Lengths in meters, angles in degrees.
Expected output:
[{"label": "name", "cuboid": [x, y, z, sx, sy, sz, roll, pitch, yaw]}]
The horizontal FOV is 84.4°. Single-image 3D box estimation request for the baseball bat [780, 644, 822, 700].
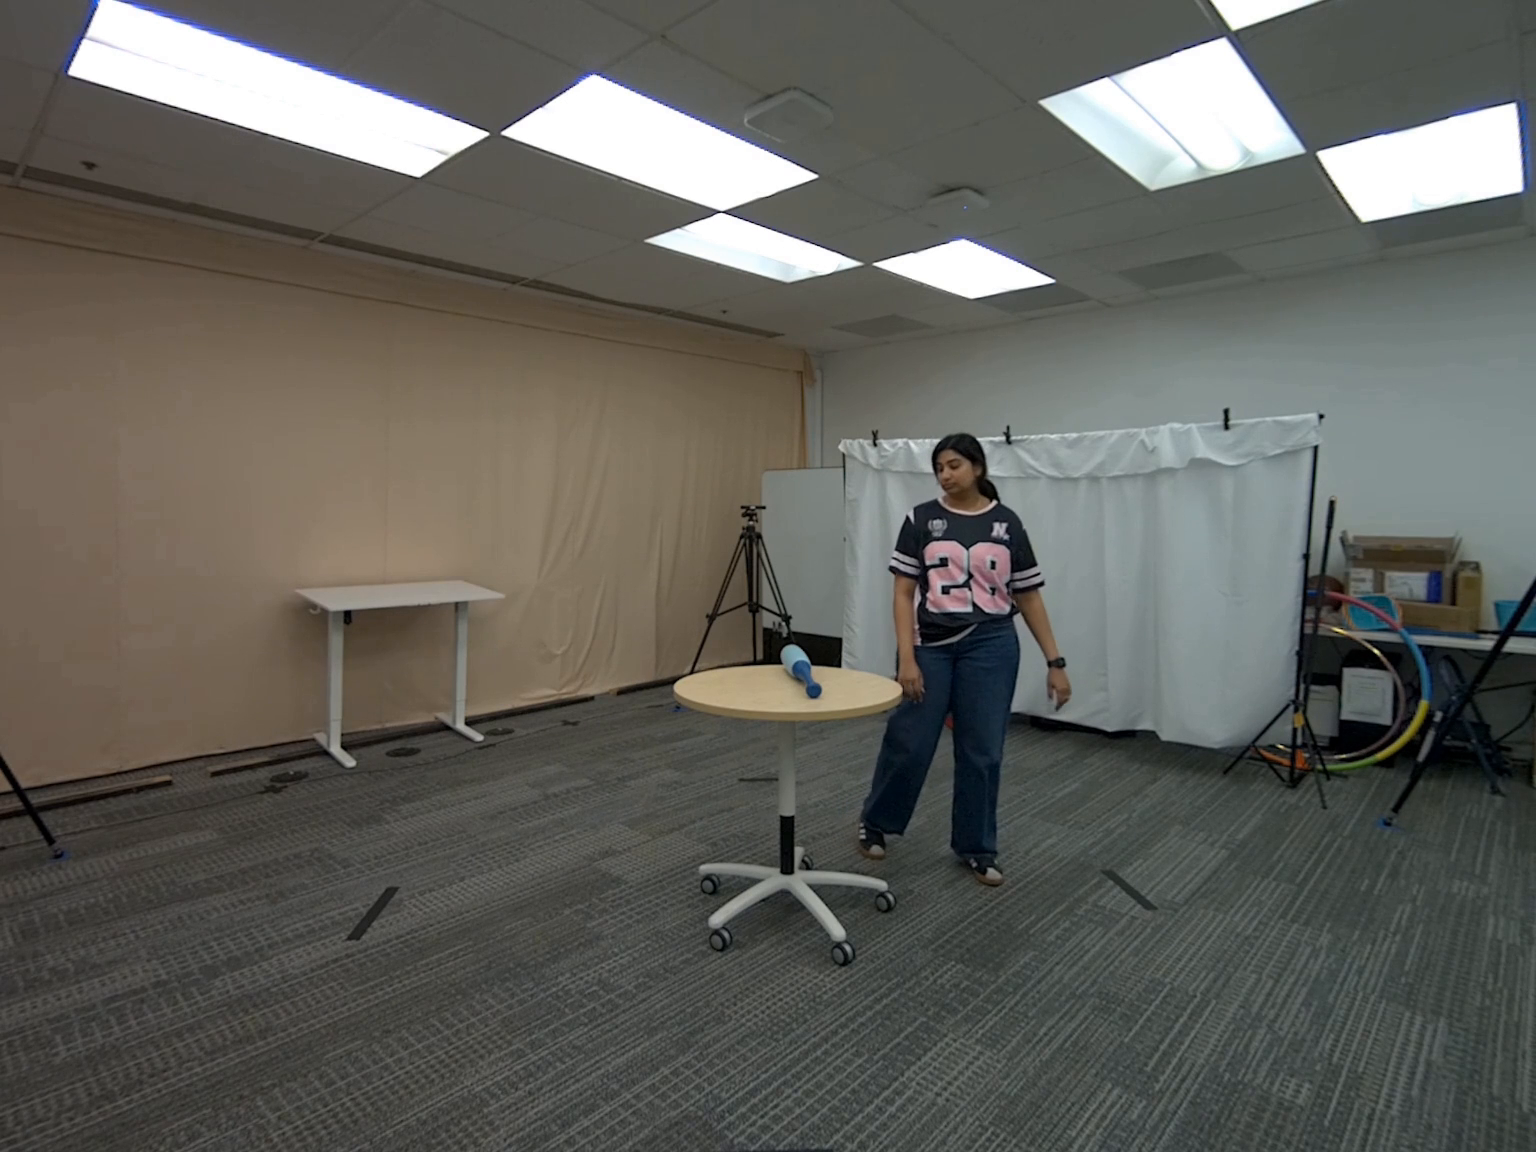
[{"label": "baseball bat", "cuboid": [0.120, 0.328, 2.897, 0.088, 0.089, 0.548, -1, 6, -8]}]
